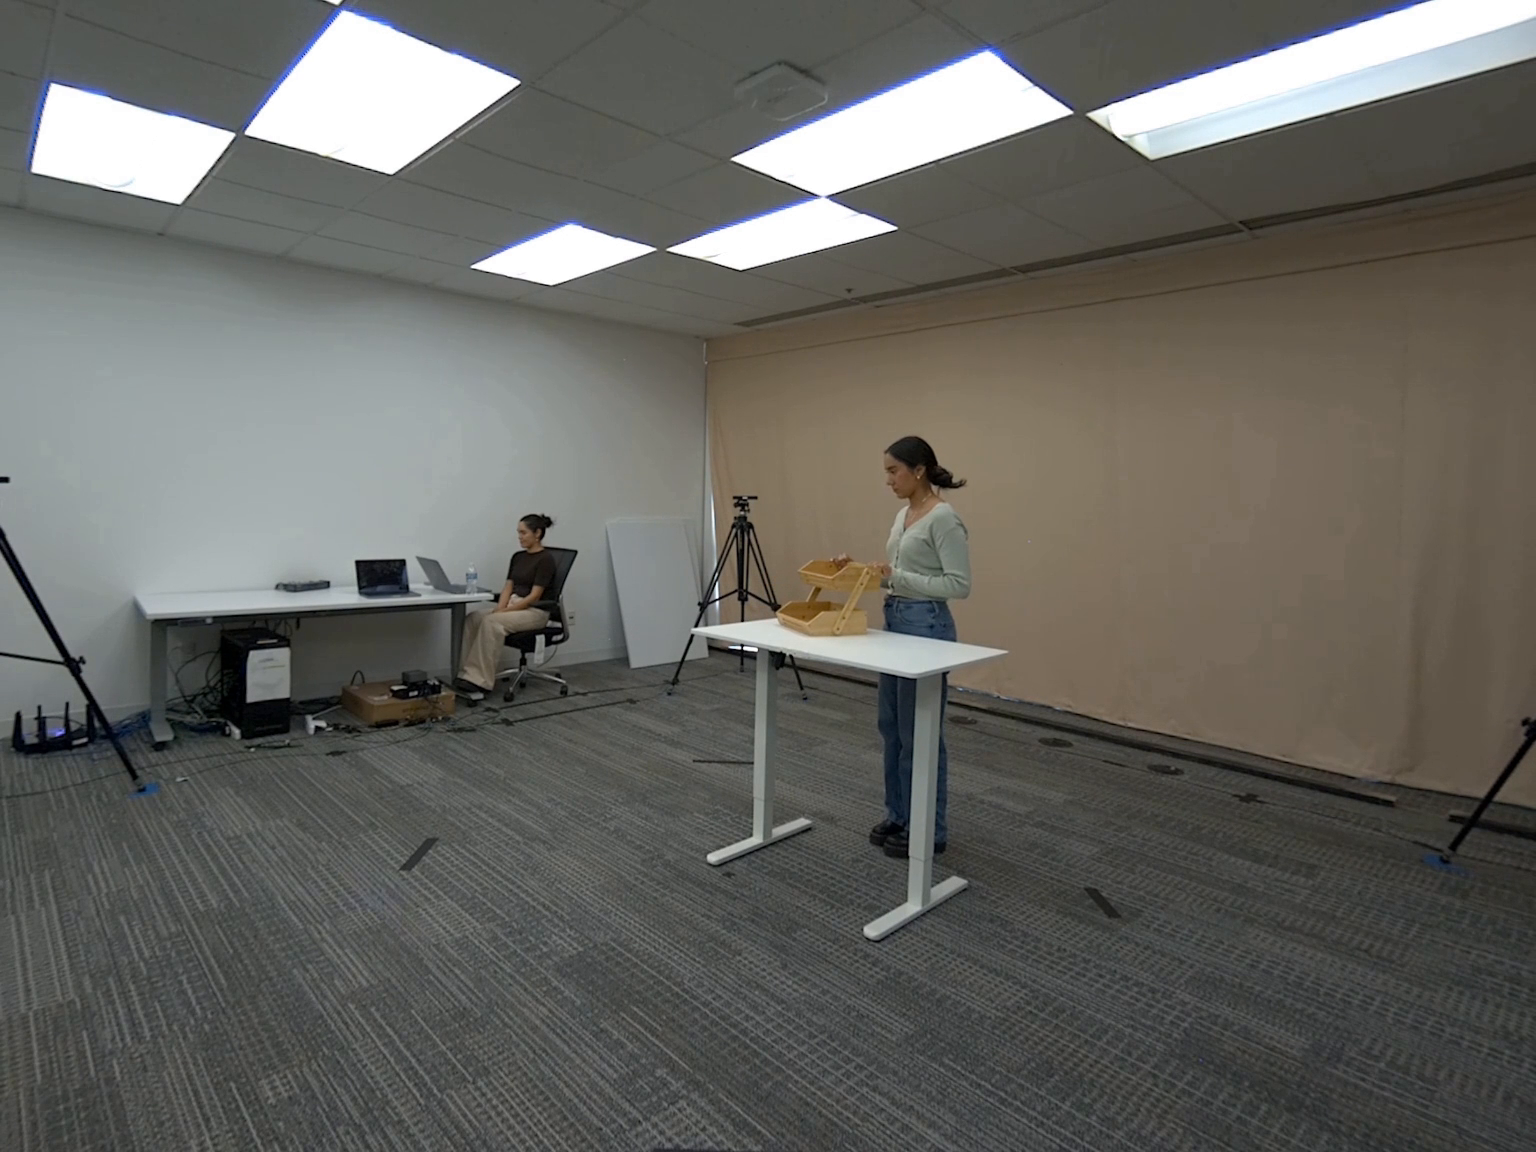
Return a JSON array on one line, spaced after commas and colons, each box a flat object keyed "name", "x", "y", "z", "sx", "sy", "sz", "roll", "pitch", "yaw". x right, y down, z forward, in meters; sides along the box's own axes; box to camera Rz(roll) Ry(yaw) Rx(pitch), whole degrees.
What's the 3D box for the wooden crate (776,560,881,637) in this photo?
[{"name": "wooden crate", "x": 0.222, "y": 0.075, "z": 3.296, "sx": 0.297, "sy": 0.272, "sz": 0.330, "roll": 0, "pitch": 5, "yaw": -21}]
